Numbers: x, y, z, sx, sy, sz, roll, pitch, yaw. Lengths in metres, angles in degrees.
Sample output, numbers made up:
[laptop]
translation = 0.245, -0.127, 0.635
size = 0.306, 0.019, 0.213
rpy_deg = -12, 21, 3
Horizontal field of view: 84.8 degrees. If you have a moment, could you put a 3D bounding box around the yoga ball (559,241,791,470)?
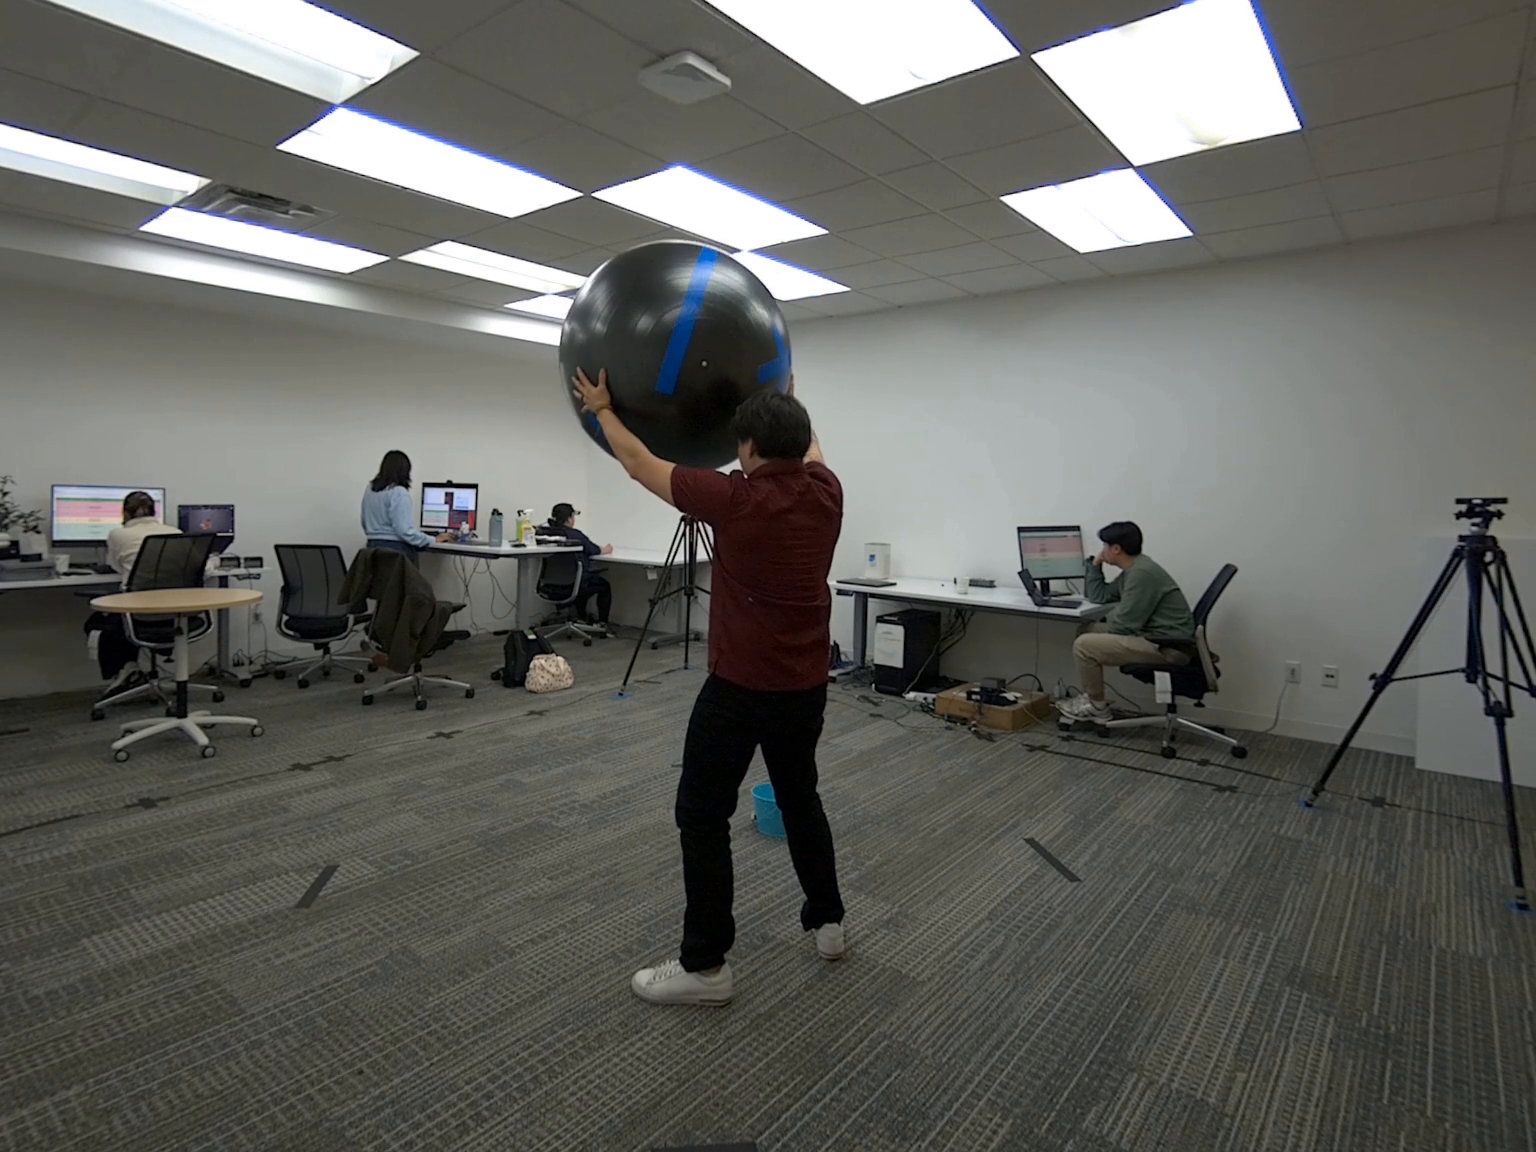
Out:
[yoga ball]
translation = -0.317, -0.690, 2.805
size = 0.757, 0.756, 0.762
rpy_deg = 1, 4, -2
